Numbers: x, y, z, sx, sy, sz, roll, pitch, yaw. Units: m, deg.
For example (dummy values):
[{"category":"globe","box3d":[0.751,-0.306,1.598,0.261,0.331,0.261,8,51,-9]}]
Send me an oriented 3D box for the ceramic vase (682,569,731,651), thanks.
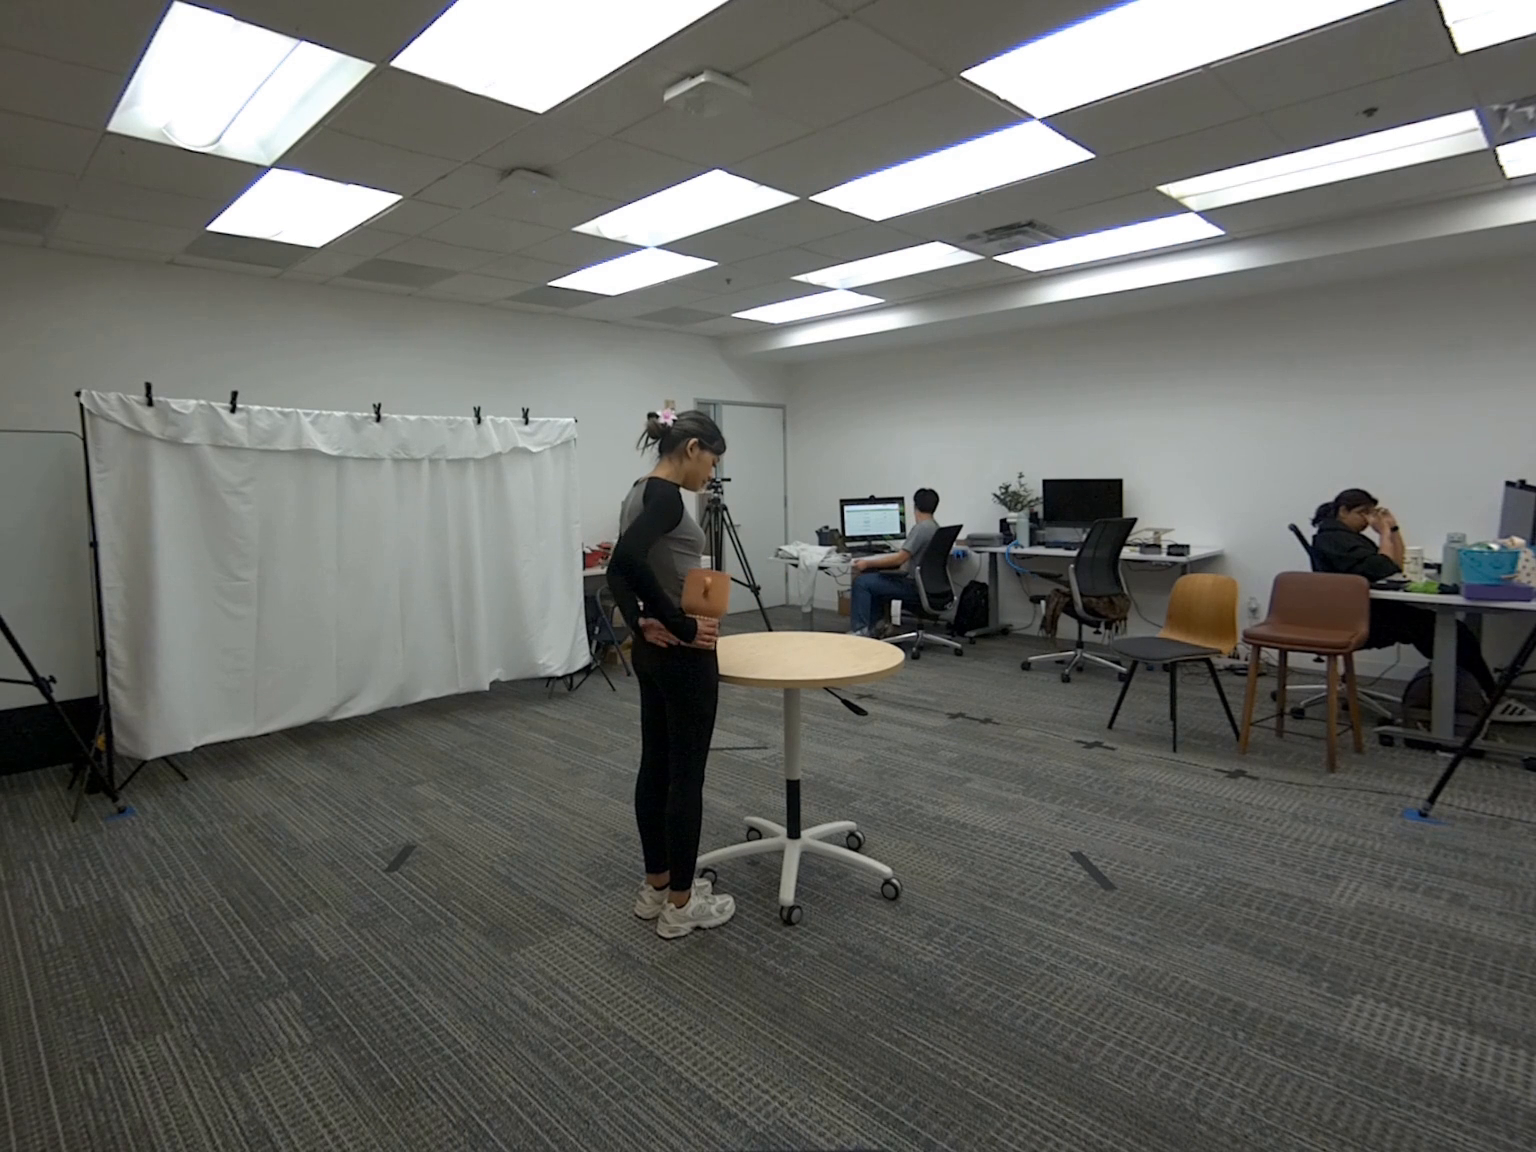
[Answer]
[{"category":"ceramic vase","box3d":[-0.191,0.098,2.473,0.138,0.221,0.153,2,-9,38]}]
